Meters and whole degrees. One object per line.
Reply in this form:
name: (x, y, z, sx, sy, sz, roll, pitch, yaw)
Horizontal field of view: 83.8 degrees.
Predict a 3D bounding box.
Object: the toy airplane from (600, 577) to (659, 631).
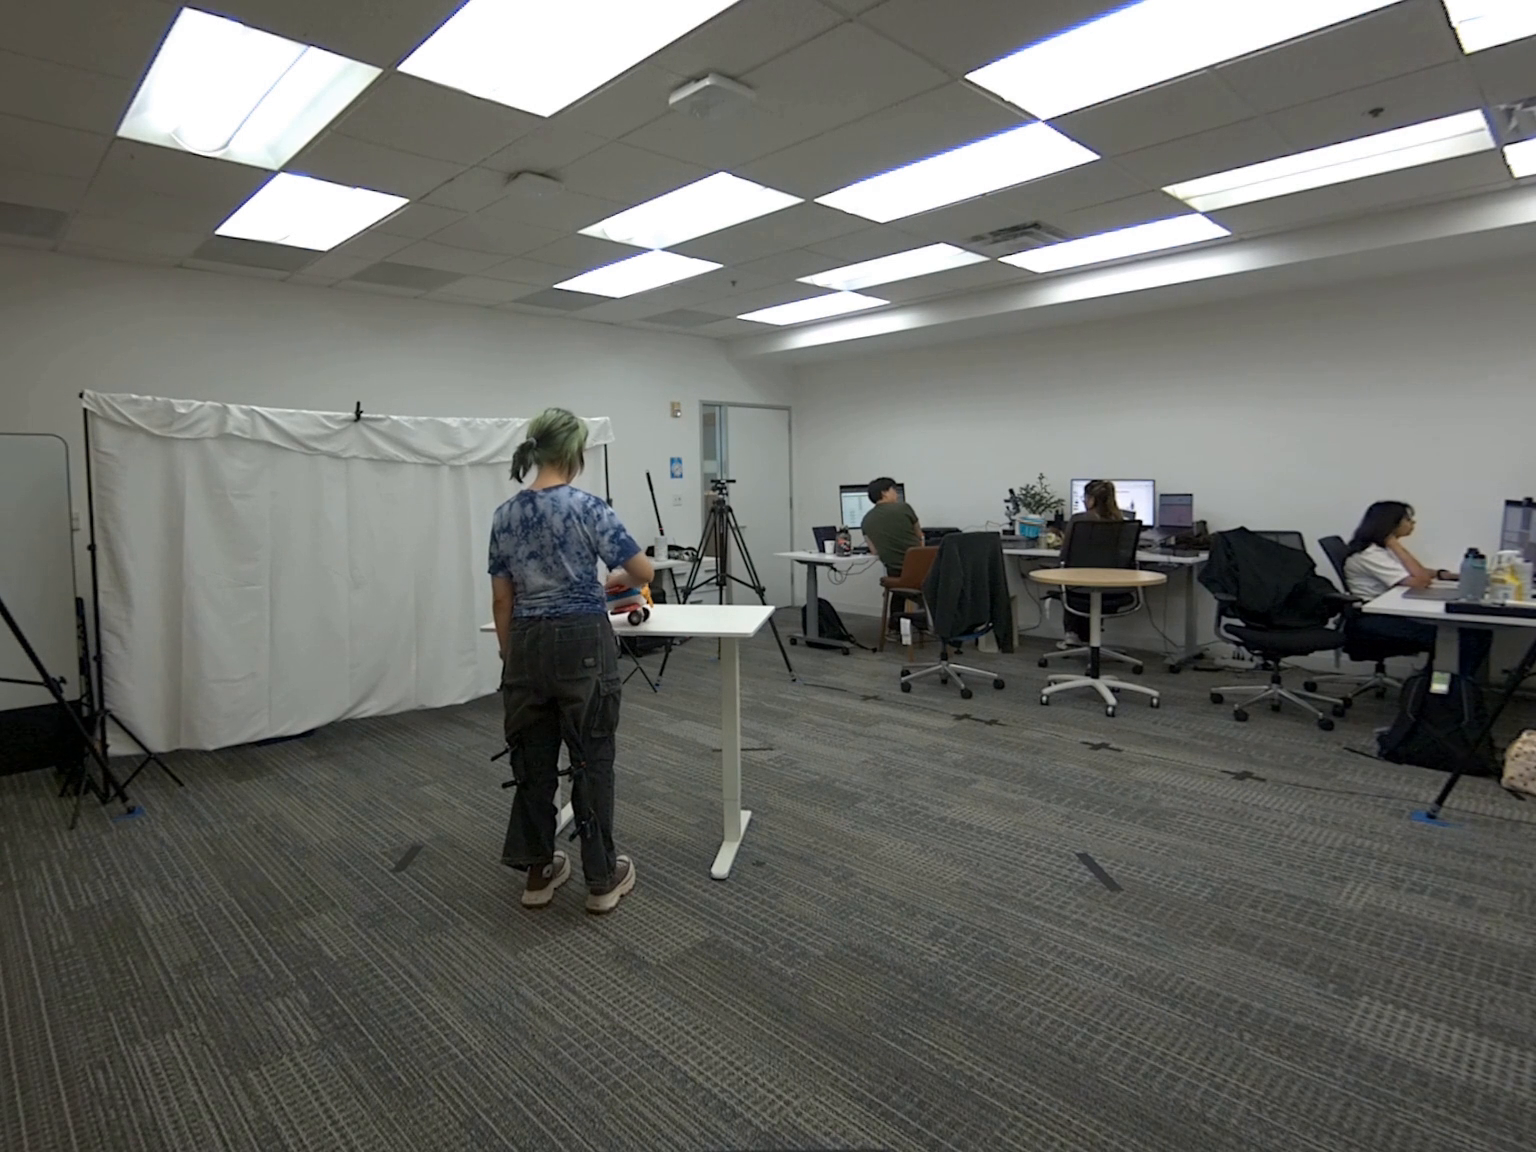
toy airplane: (-0.551, 0.097, 3.114, 0.255, 0.156, 0.256, 0, 6, -16)
